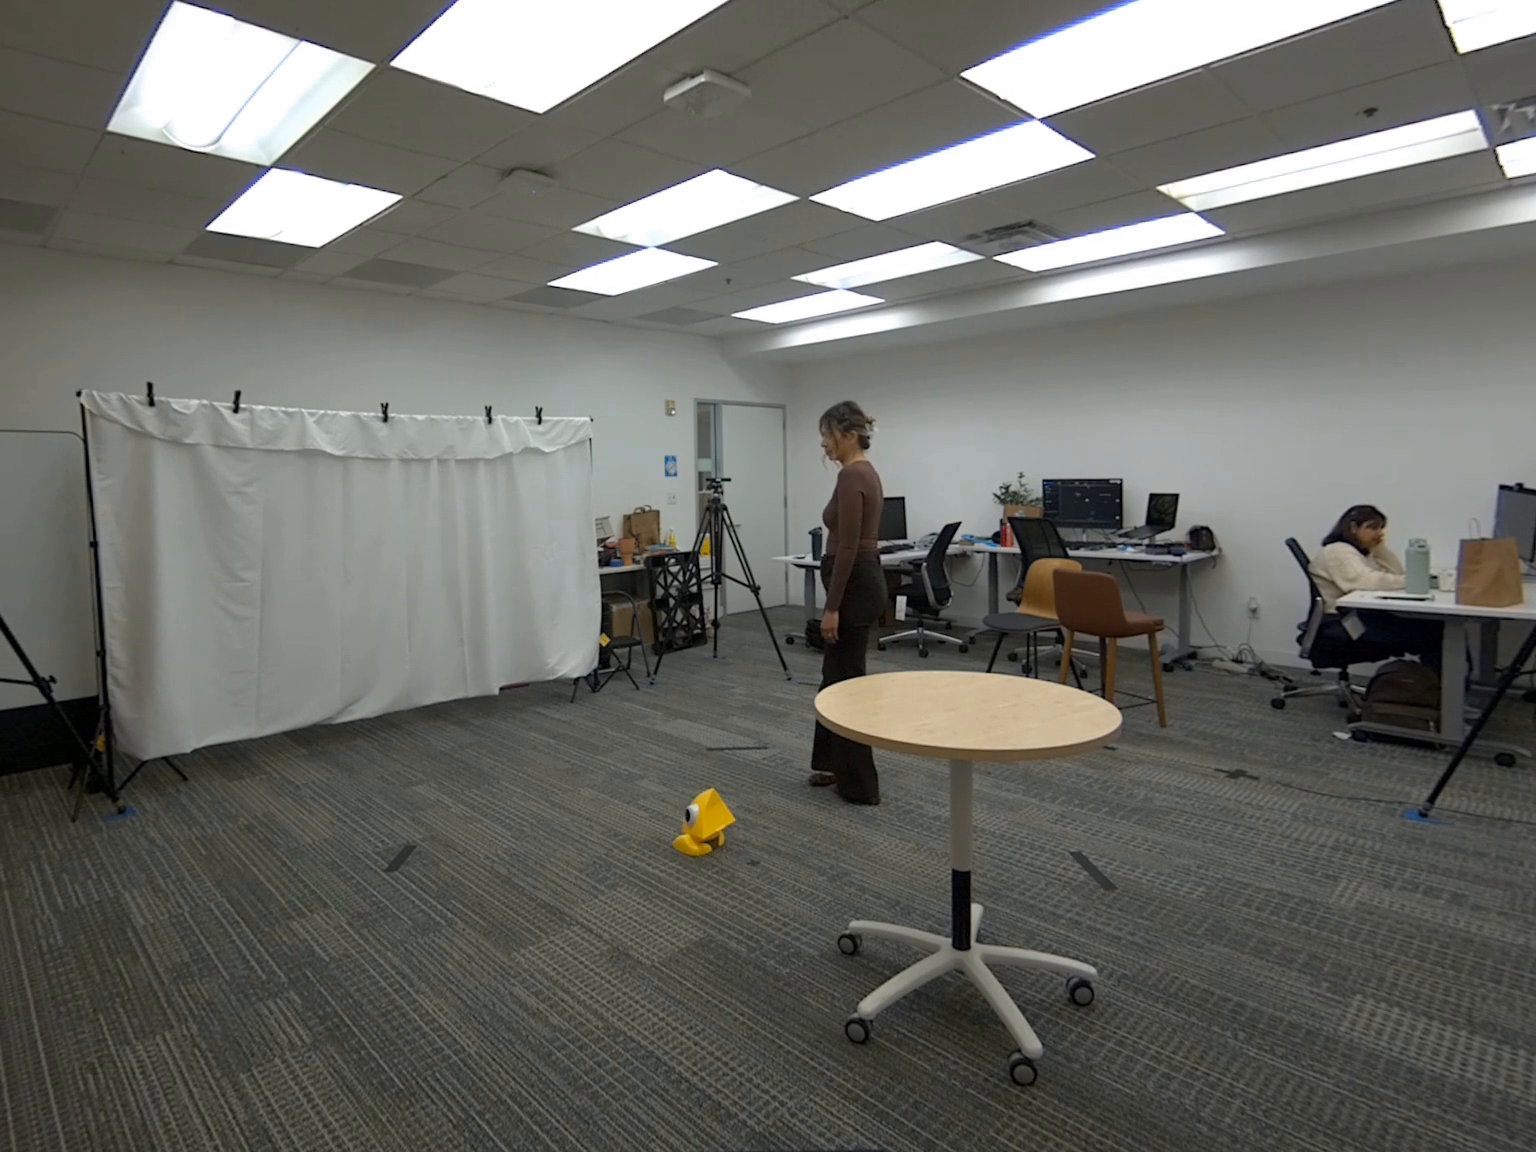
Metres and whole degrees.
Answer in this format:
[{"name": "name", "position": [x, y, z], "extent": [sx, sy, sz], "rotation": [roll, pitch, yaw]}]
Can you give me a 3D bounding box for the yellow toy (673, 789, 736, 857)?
[{"name": "yellow toy", "position": [-0.254, 0.919, 3.264], "extent": [0.198, 0.230, 0.200], "rotation": [2, 6, 35]}]
